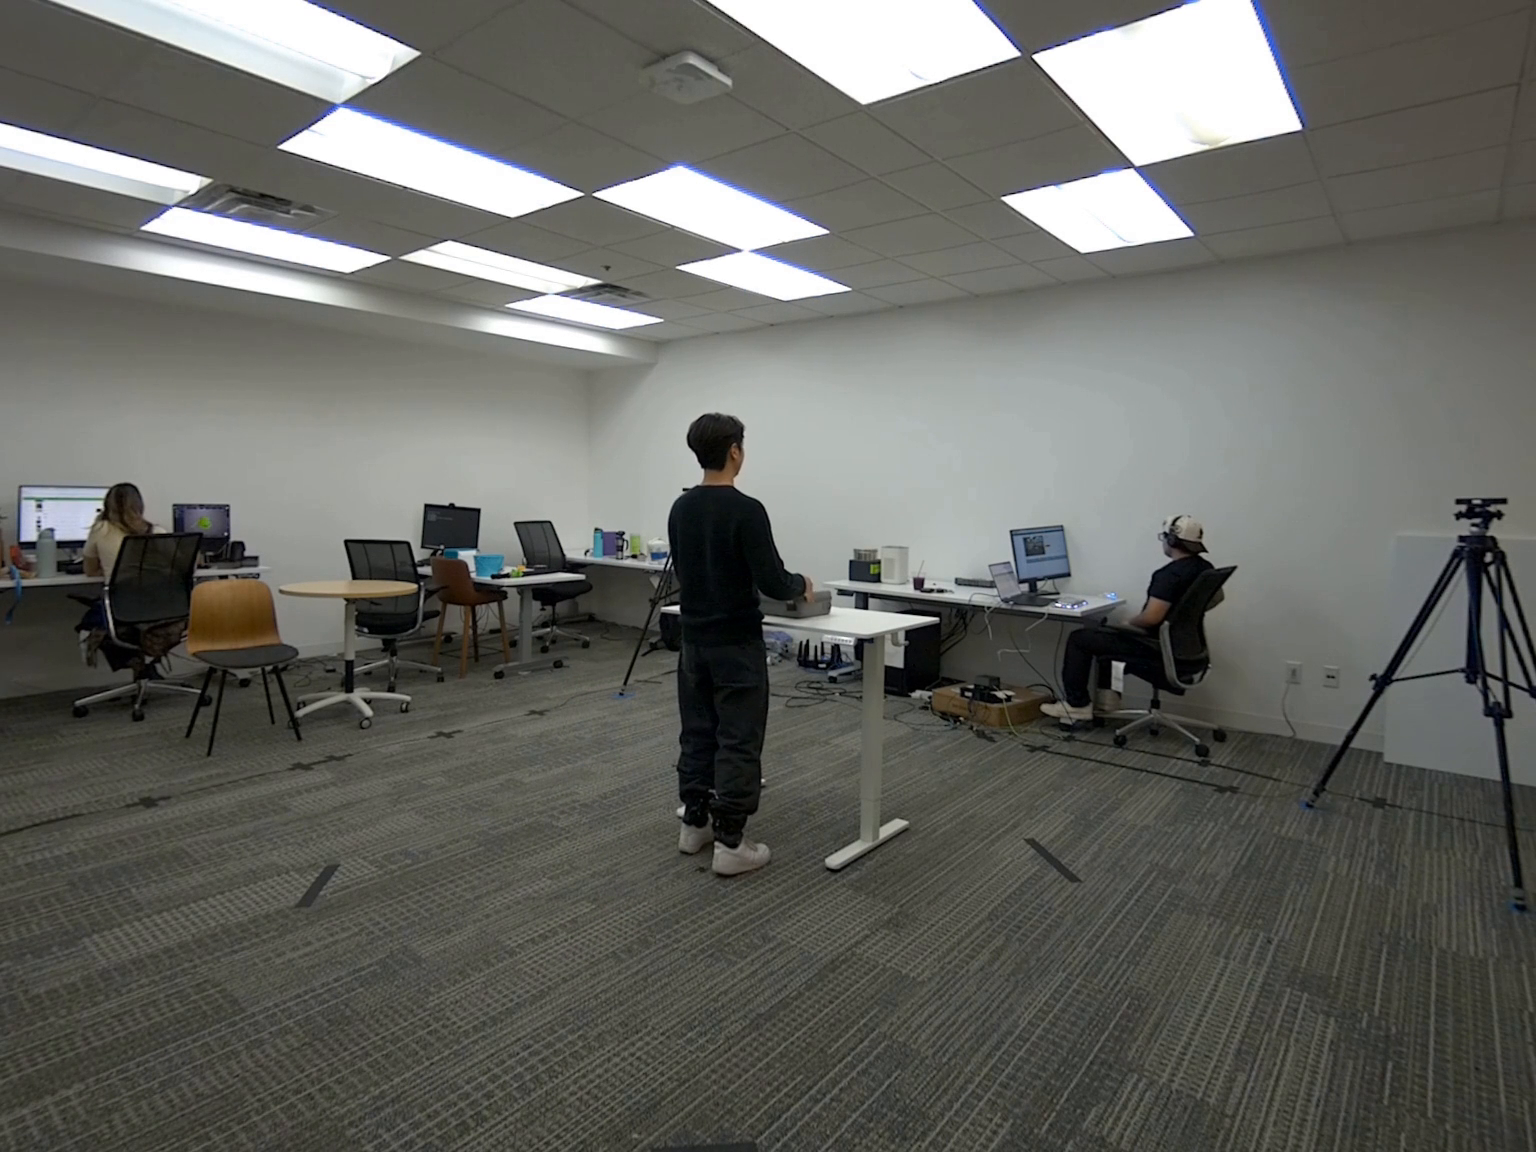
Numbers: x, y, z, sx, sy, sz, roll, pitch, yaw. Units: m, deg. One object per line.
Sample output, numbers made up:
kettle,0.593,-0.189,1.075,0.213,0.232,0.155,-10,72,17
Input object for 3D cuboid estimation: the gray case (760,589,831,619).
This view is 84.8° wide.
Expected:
gray case,0.094,0.103,3.528,0.265,0.104,0.253,3,4,39
